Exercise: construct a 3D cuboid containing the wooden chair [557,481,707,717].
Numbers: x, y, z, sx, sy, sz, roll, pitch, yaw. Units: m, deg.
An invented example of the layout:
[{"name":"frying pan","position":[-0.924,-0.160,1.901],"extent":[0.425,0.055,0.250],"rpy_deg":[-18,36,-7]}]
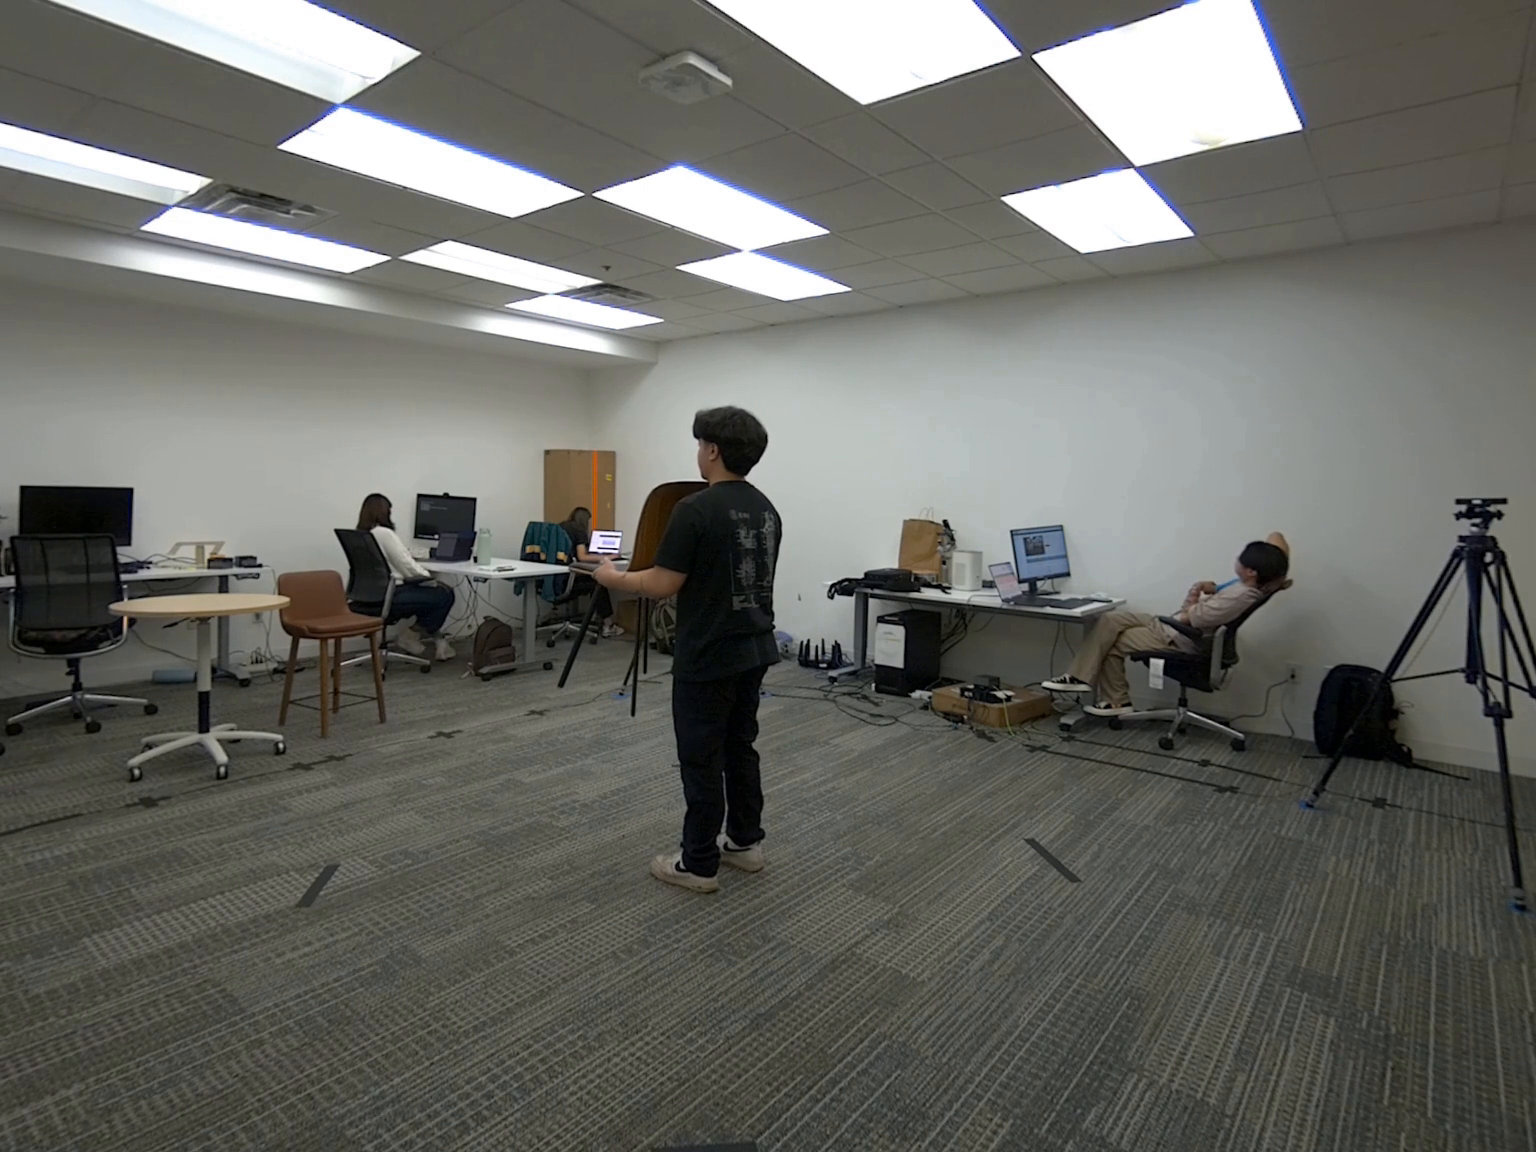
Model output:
[{"name":"wooden chair","position":[-0.487,0.037,3.286],"extent":[0.543,0.871,0.464],"rpy_deg":[14,12,42]}]
